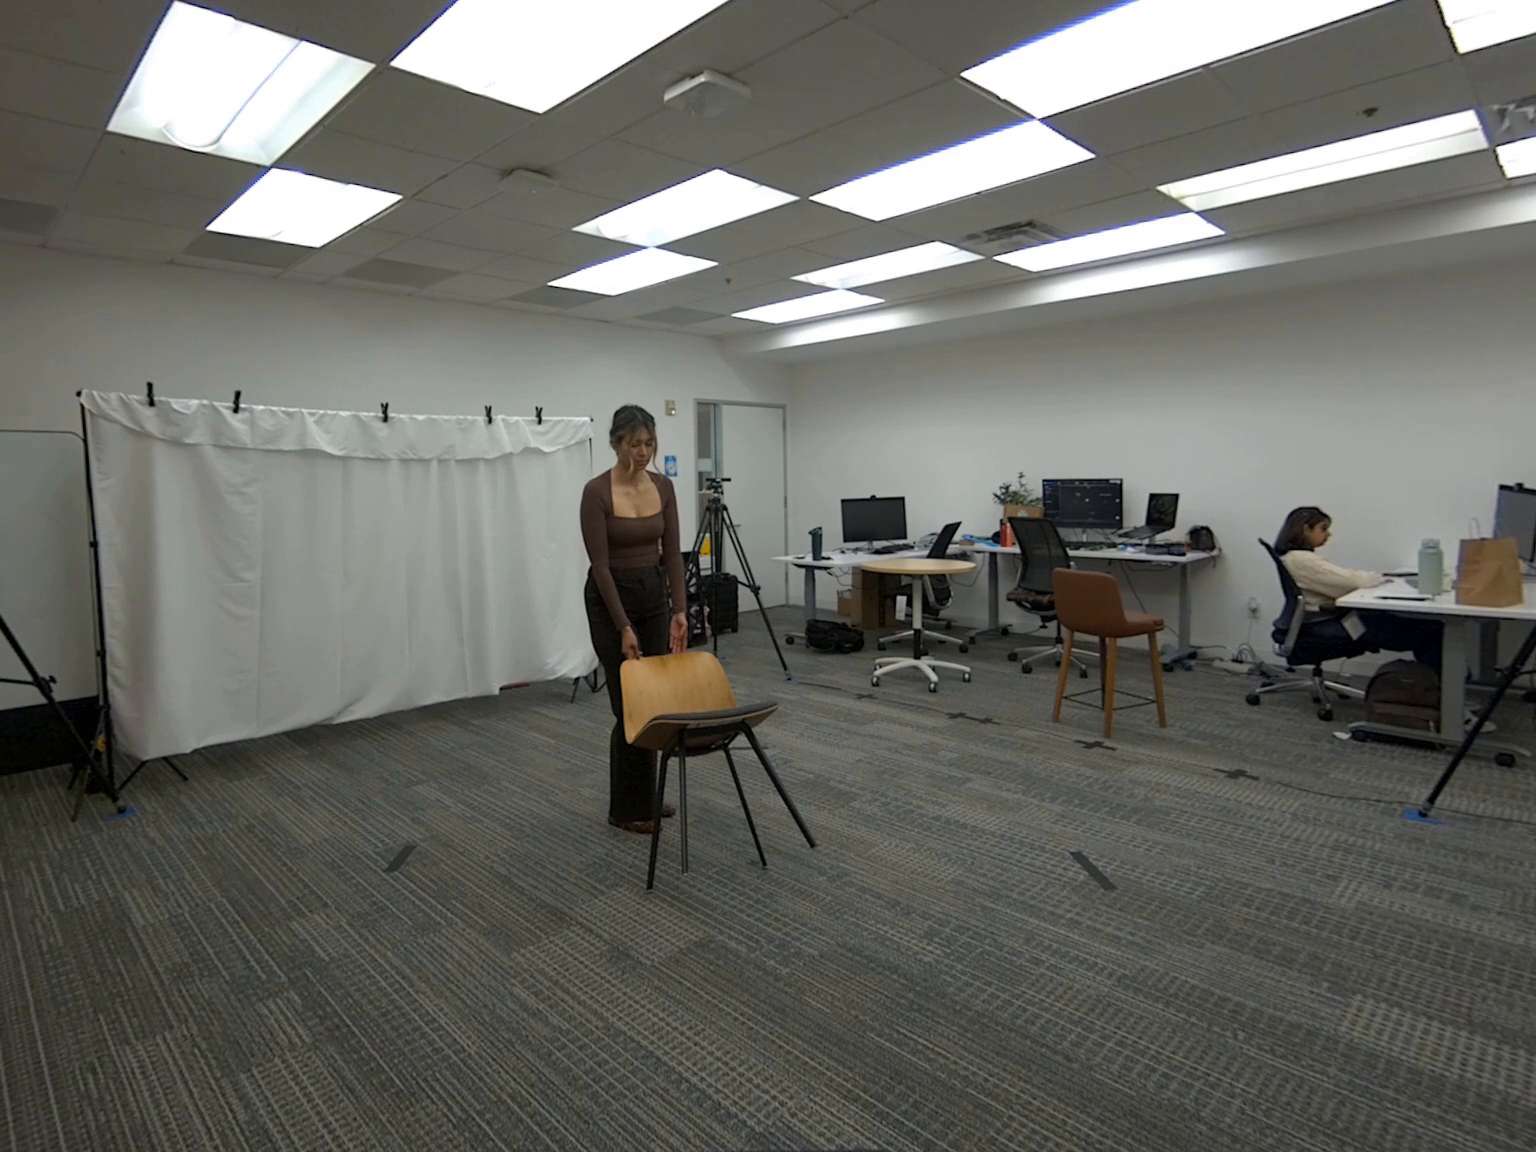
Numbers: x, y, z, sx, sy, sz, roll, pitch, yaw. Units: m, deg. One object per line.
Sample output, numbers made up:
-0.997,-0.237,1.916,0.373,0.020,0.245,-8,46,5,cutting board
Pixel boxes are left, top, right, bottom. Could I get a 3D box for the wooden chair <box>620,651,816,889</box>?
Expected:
-0.221,0.573,2.967,0.469,0.902,0.519,-3,-30,-23,wooden chair
